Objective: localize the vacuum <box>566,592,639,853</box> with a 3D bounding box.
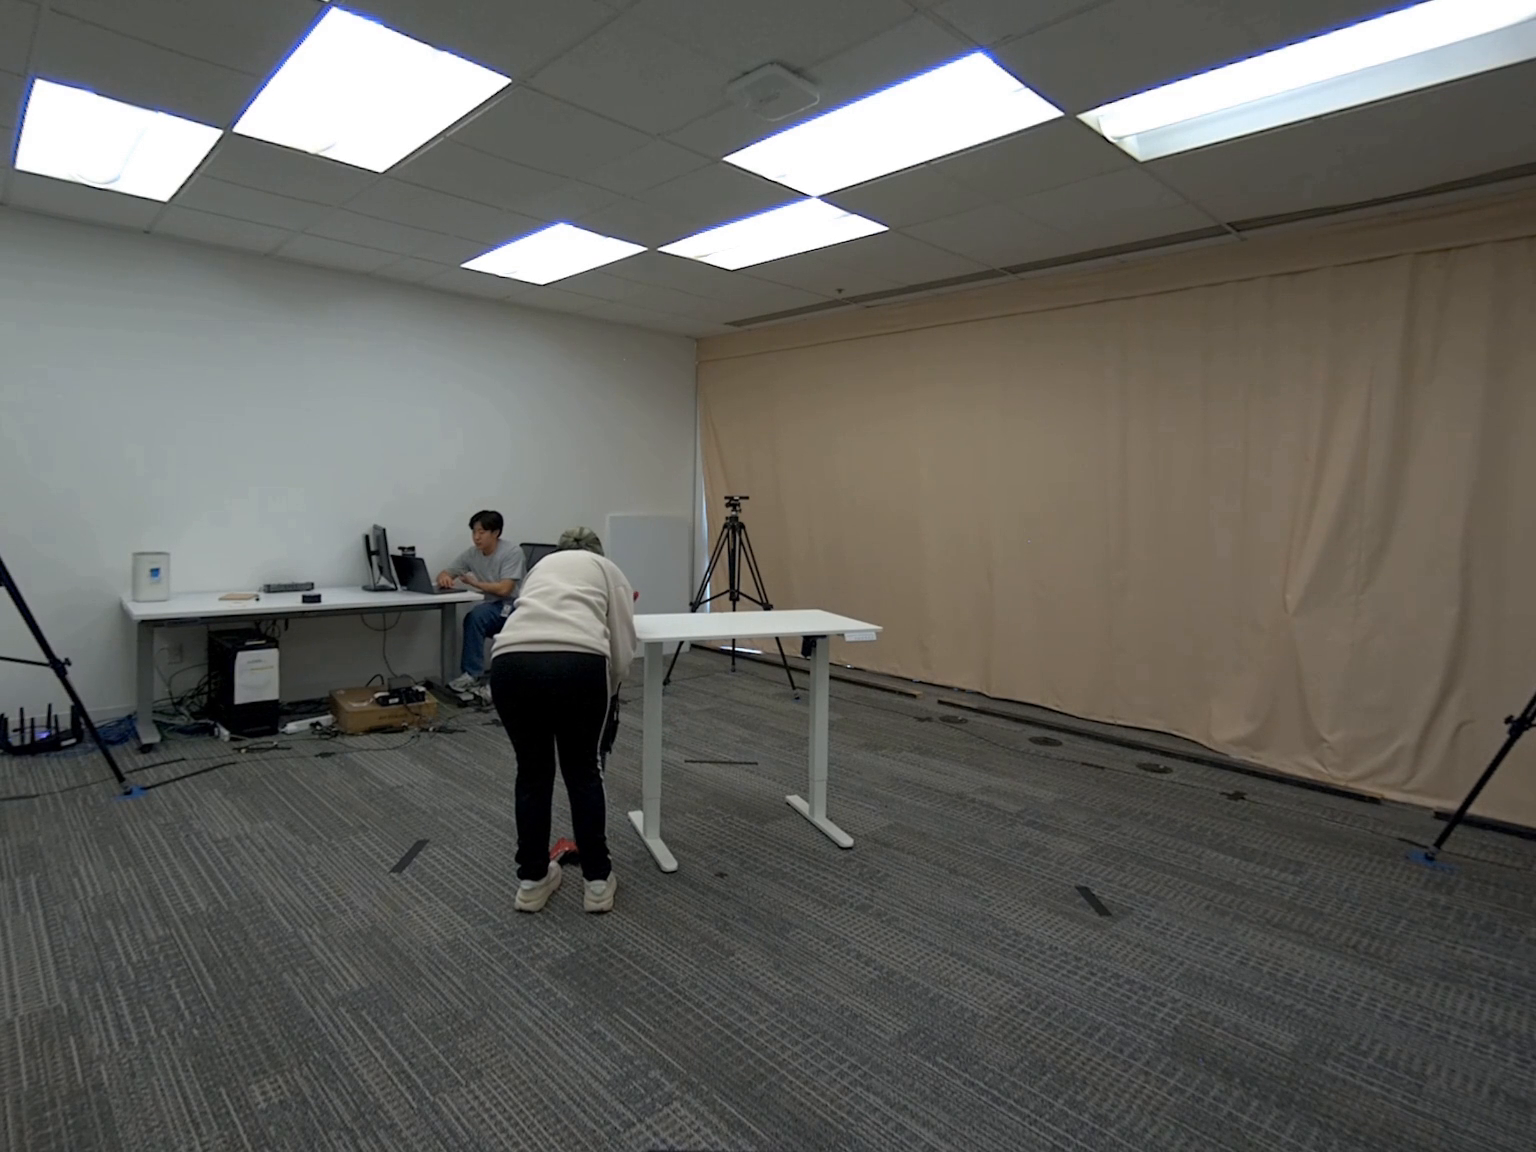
[{"bbox_3d":[-0.649,0.576,3.172,0.144,1.047,0.252,15,4,2],"label":"vacuum"}]
